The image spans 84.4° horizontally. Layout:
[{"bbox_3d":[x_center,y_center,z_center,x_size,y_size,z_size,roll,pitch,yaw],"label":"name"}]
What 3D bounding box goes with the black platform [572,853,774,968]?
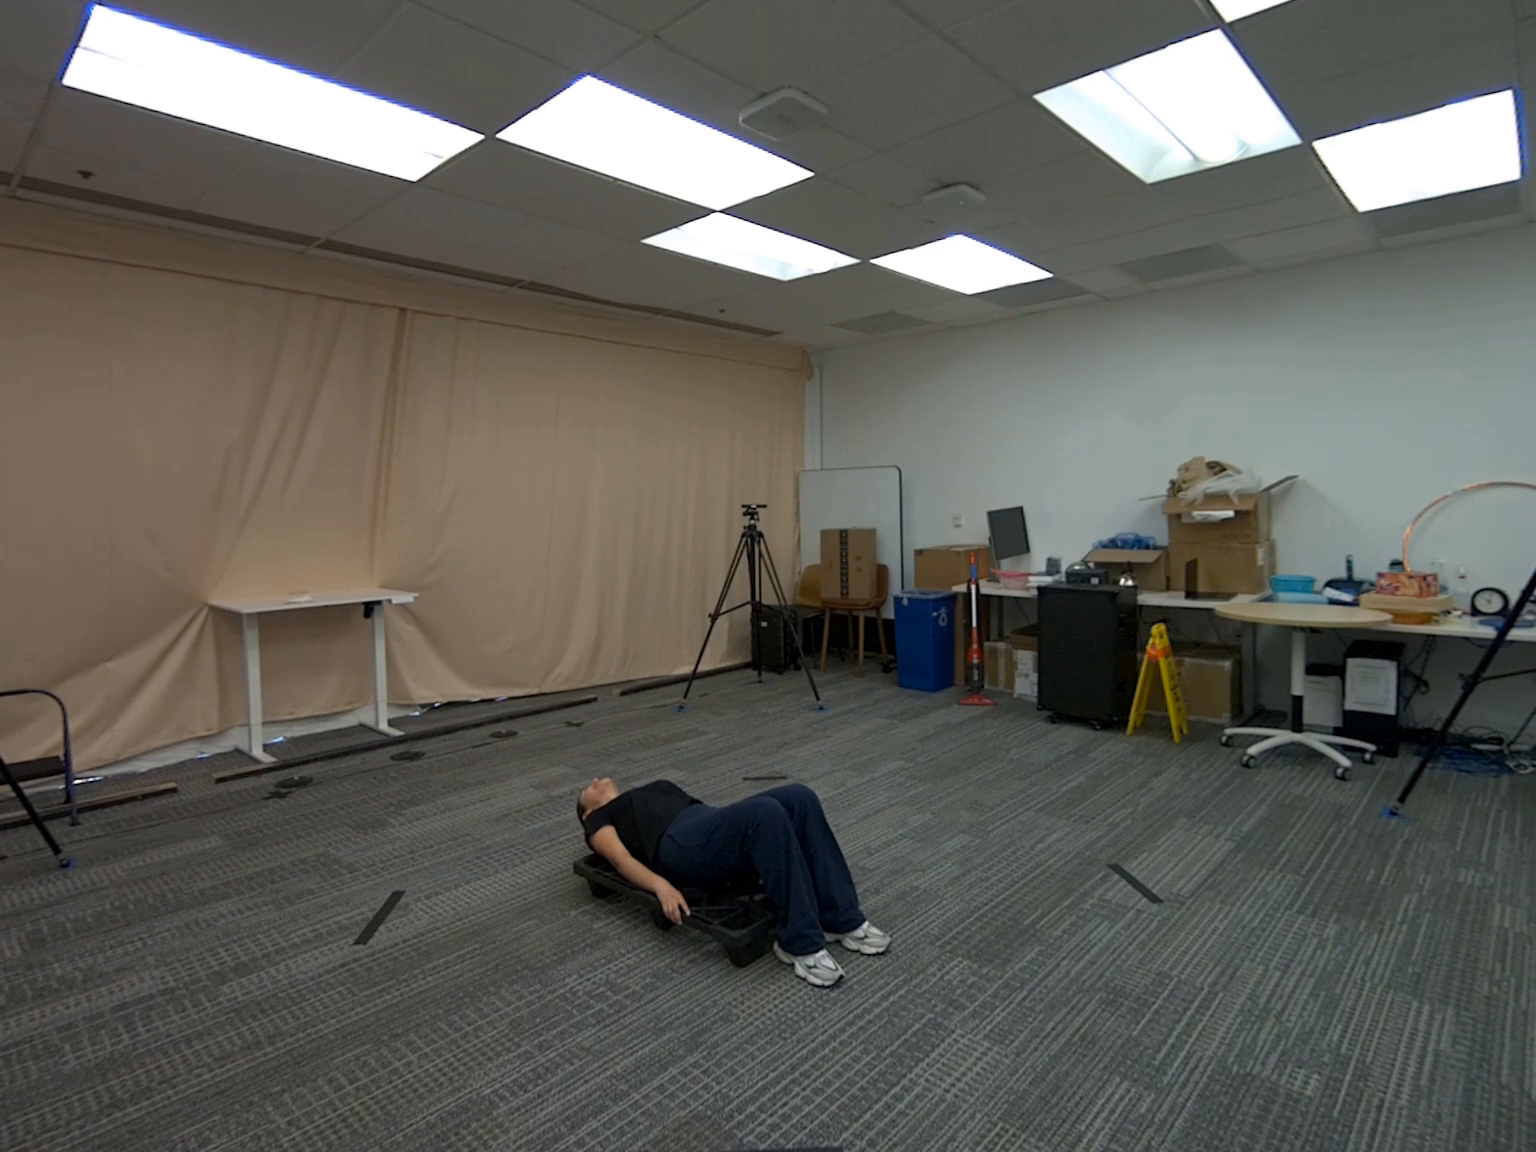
[{"bbox_3d":[-0.198,1.080,2.943,0.832,0.143,0.587,3,7,41],"label":"black platform"}]
